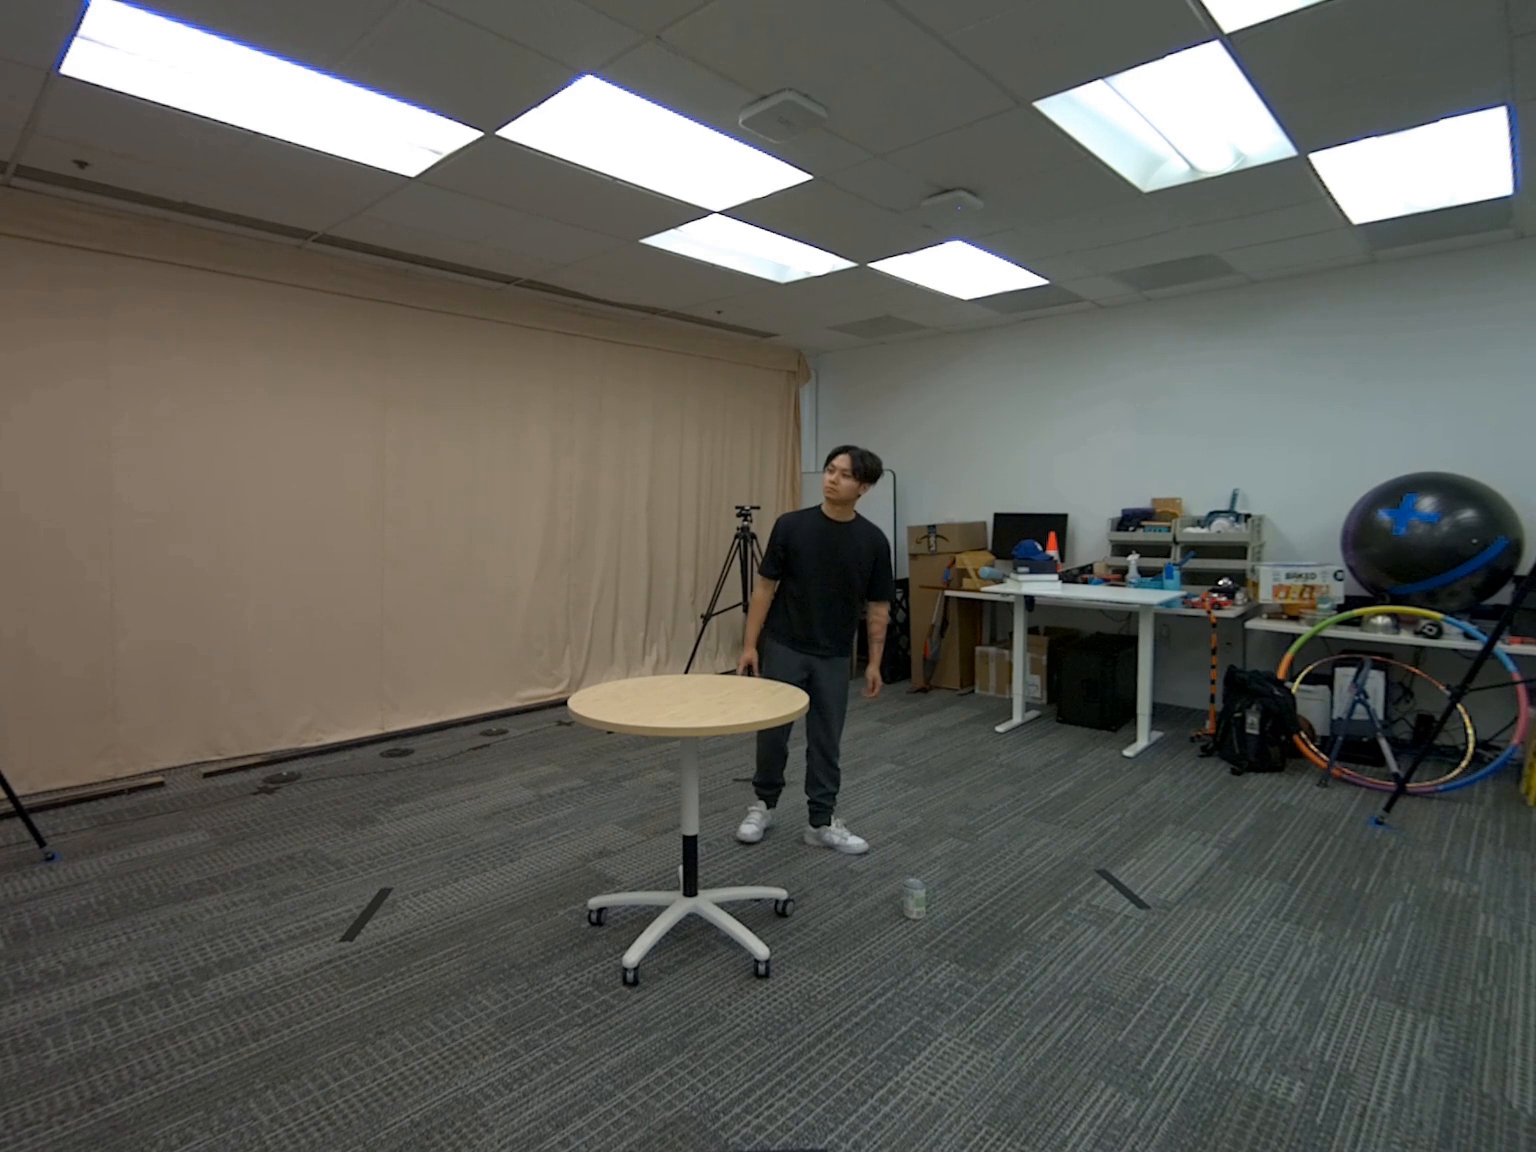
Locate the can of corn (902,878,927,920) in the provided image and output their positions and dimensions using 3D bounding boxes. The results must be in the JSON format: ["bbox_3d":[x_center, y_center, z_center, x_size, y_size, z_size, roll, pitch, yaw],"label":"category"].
[{"bbox_3d":[0.505,1.101,2.857,0.074,0.111,0.074,0,3,-2],"label":"can of corn"}]
